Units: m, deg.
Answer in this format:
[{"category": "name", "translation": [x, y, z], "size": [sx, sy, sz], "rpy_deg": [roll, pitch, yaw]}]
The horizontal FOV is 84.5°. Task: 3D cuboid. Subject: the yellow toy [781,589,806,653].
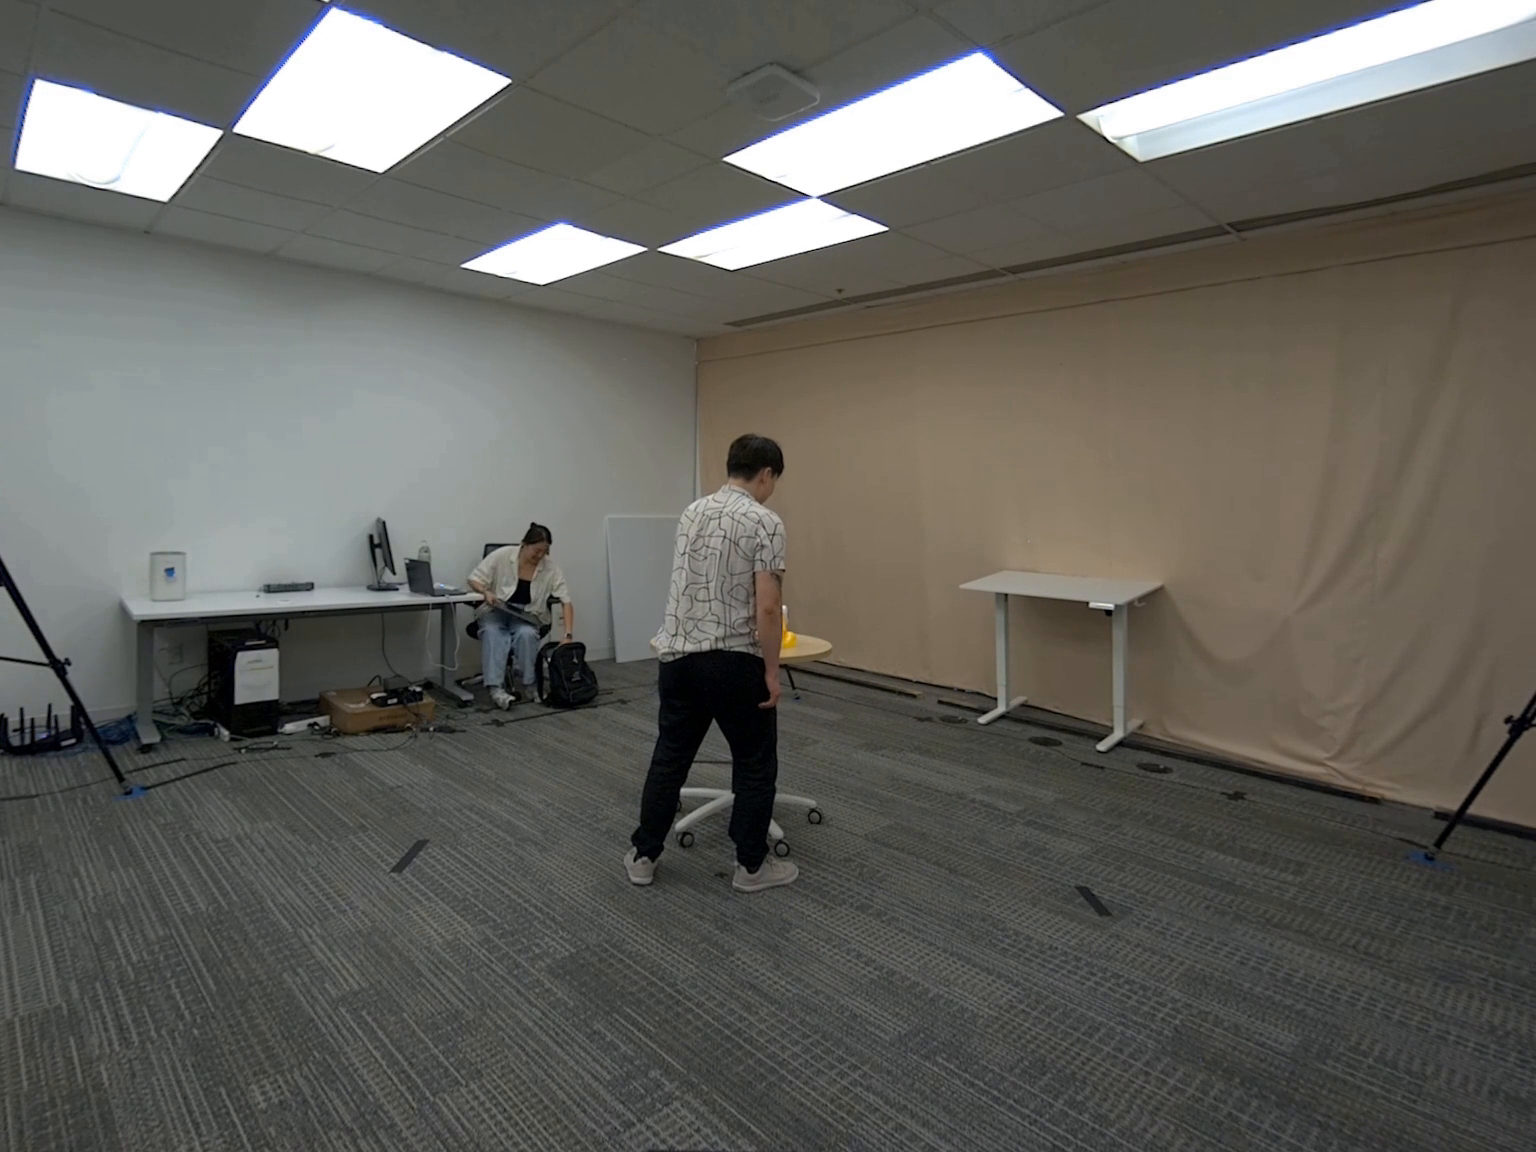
[{"category": "yellow toy", "translation": [0.014, 0.177, 3.515], "size": [0.209, 0.230, 0.189], "rpy_deg": [4, 4, 29]}]
